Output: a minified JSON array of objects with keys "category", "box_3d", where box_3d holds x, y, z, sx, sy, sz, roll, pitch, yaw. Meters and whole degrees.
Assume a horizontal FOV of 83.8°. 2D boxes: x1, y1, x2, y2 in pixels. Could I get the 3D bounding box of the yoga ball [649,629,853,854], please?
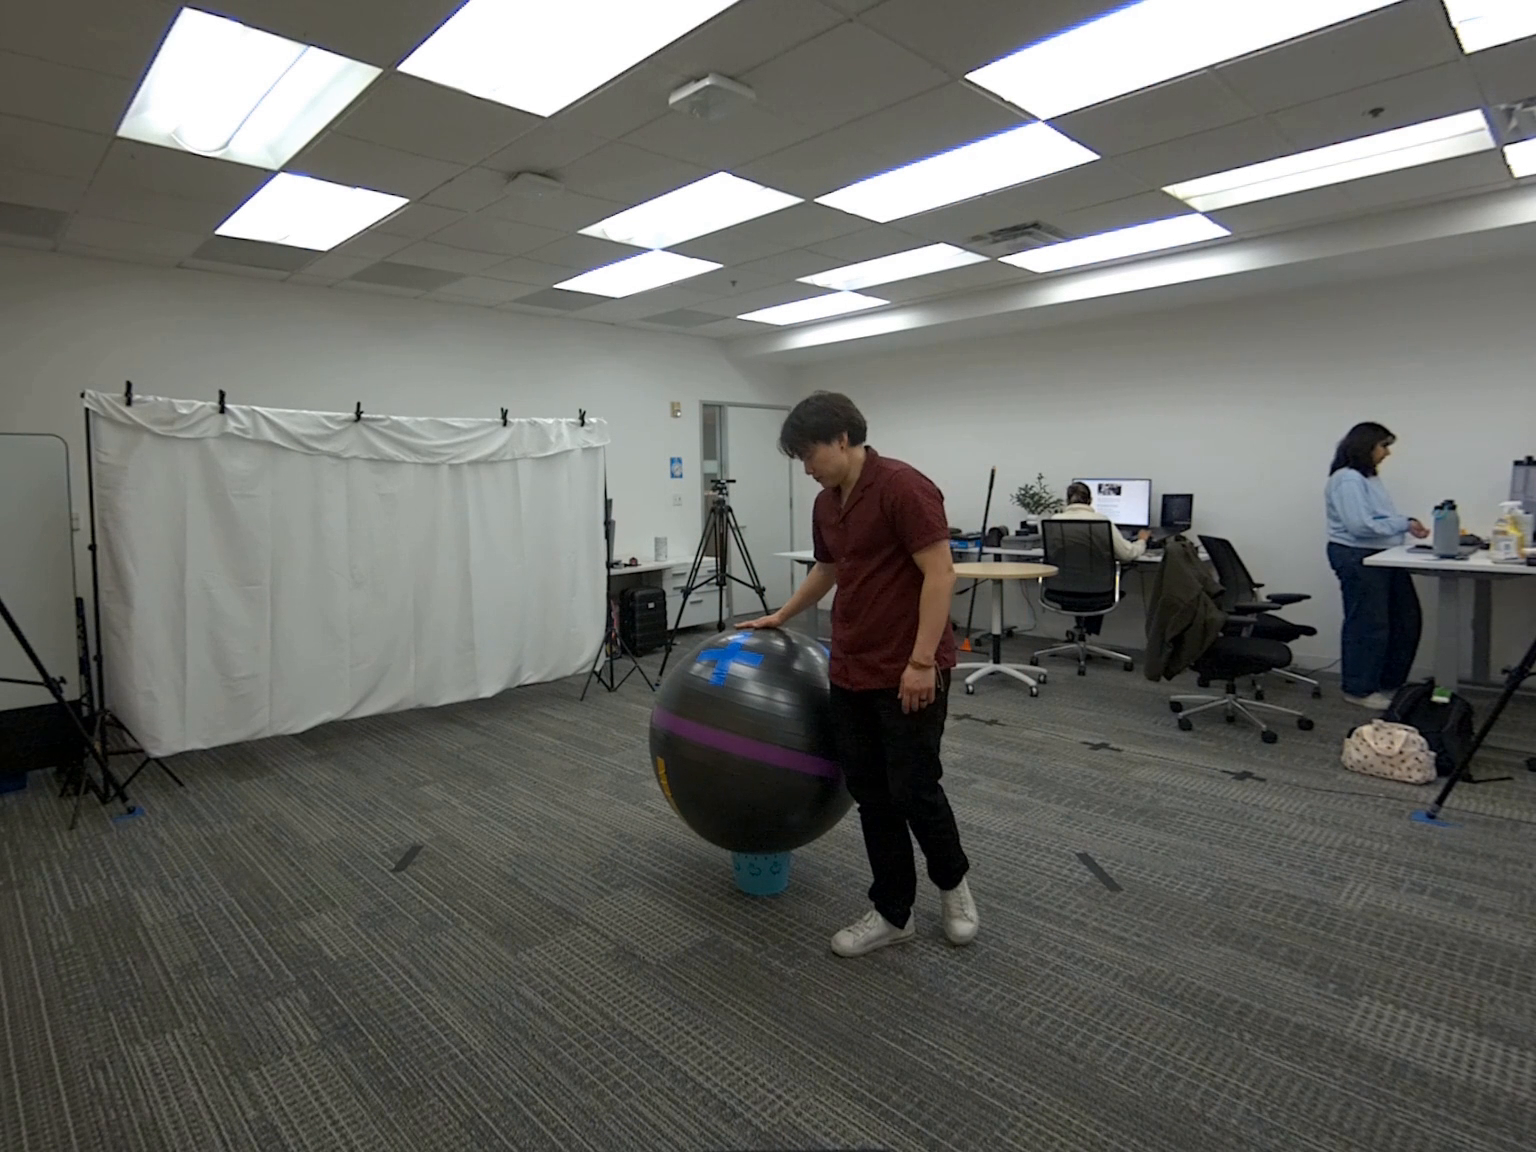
[{"category":"yoga ball","box_3d":[-0.032,0.558,2.946,0.757,0.755,0.762,-1,5,-2]}]
